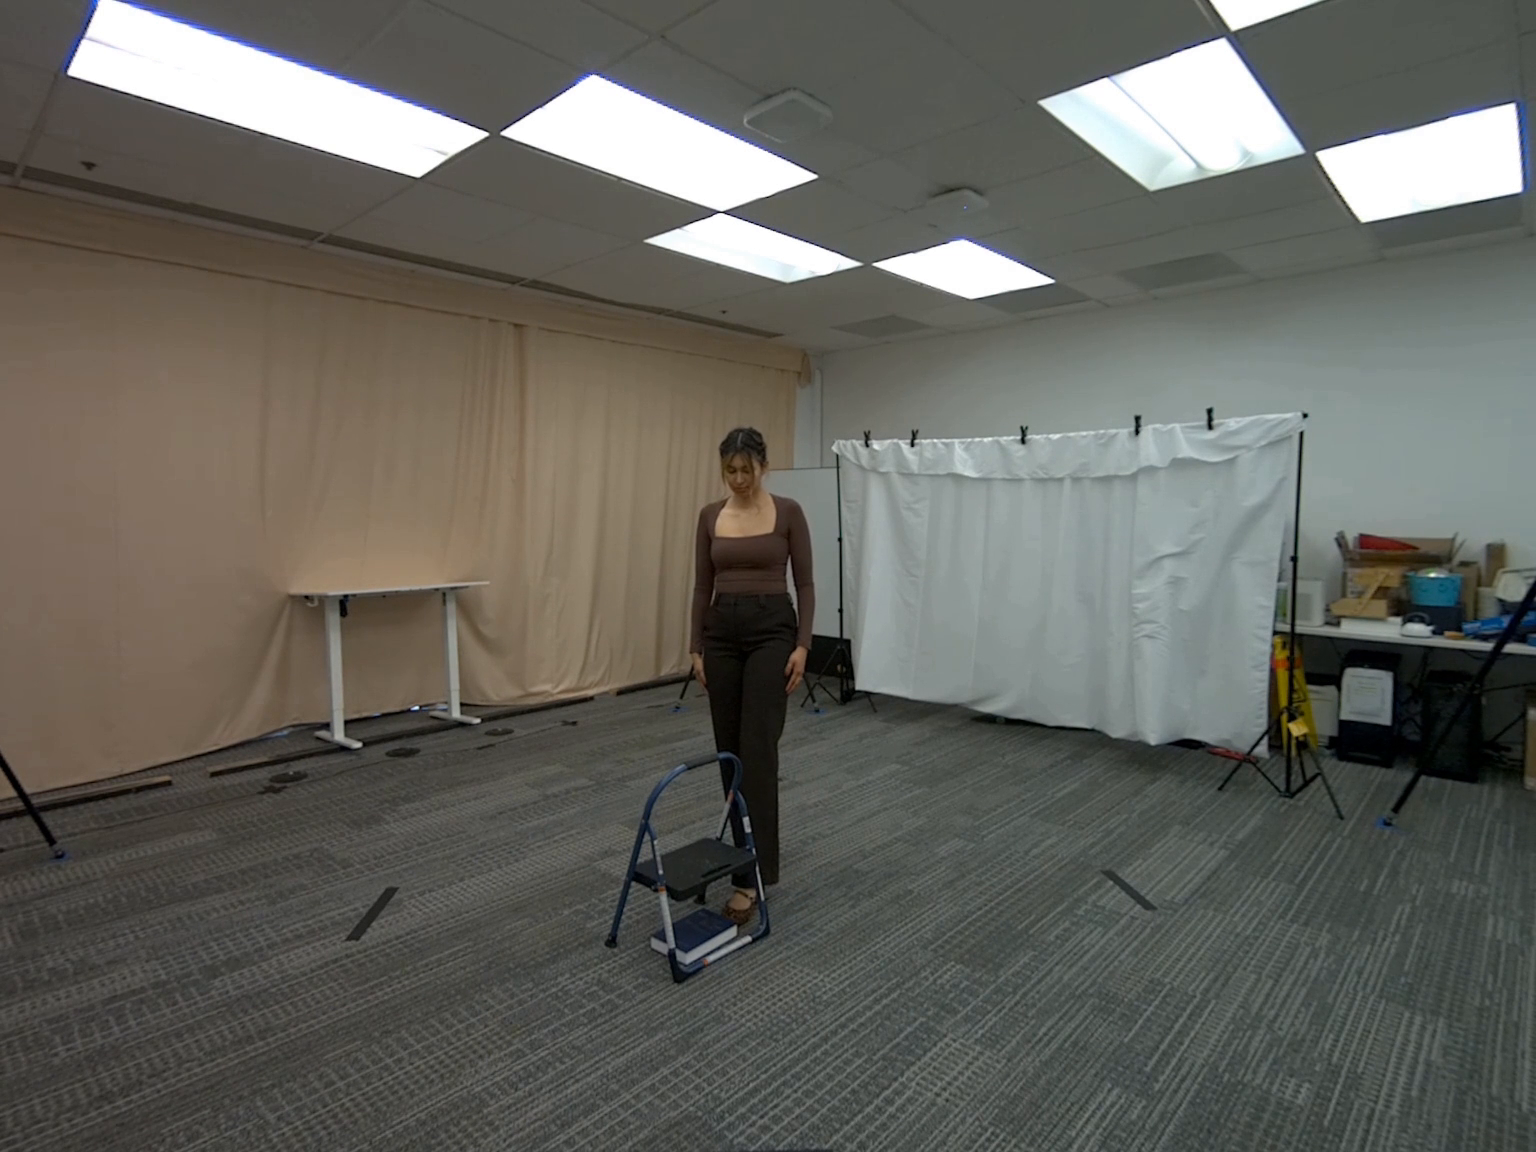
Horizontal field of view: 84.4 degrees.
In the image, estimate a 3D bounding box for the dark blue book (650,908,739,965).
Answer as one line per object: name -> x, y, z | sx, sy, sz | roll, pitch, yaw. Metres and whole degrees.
dark blue book -> -0.233, 1.141, 2.686 | 0.169, 0.045, 0.238 | 3, 5, 39
